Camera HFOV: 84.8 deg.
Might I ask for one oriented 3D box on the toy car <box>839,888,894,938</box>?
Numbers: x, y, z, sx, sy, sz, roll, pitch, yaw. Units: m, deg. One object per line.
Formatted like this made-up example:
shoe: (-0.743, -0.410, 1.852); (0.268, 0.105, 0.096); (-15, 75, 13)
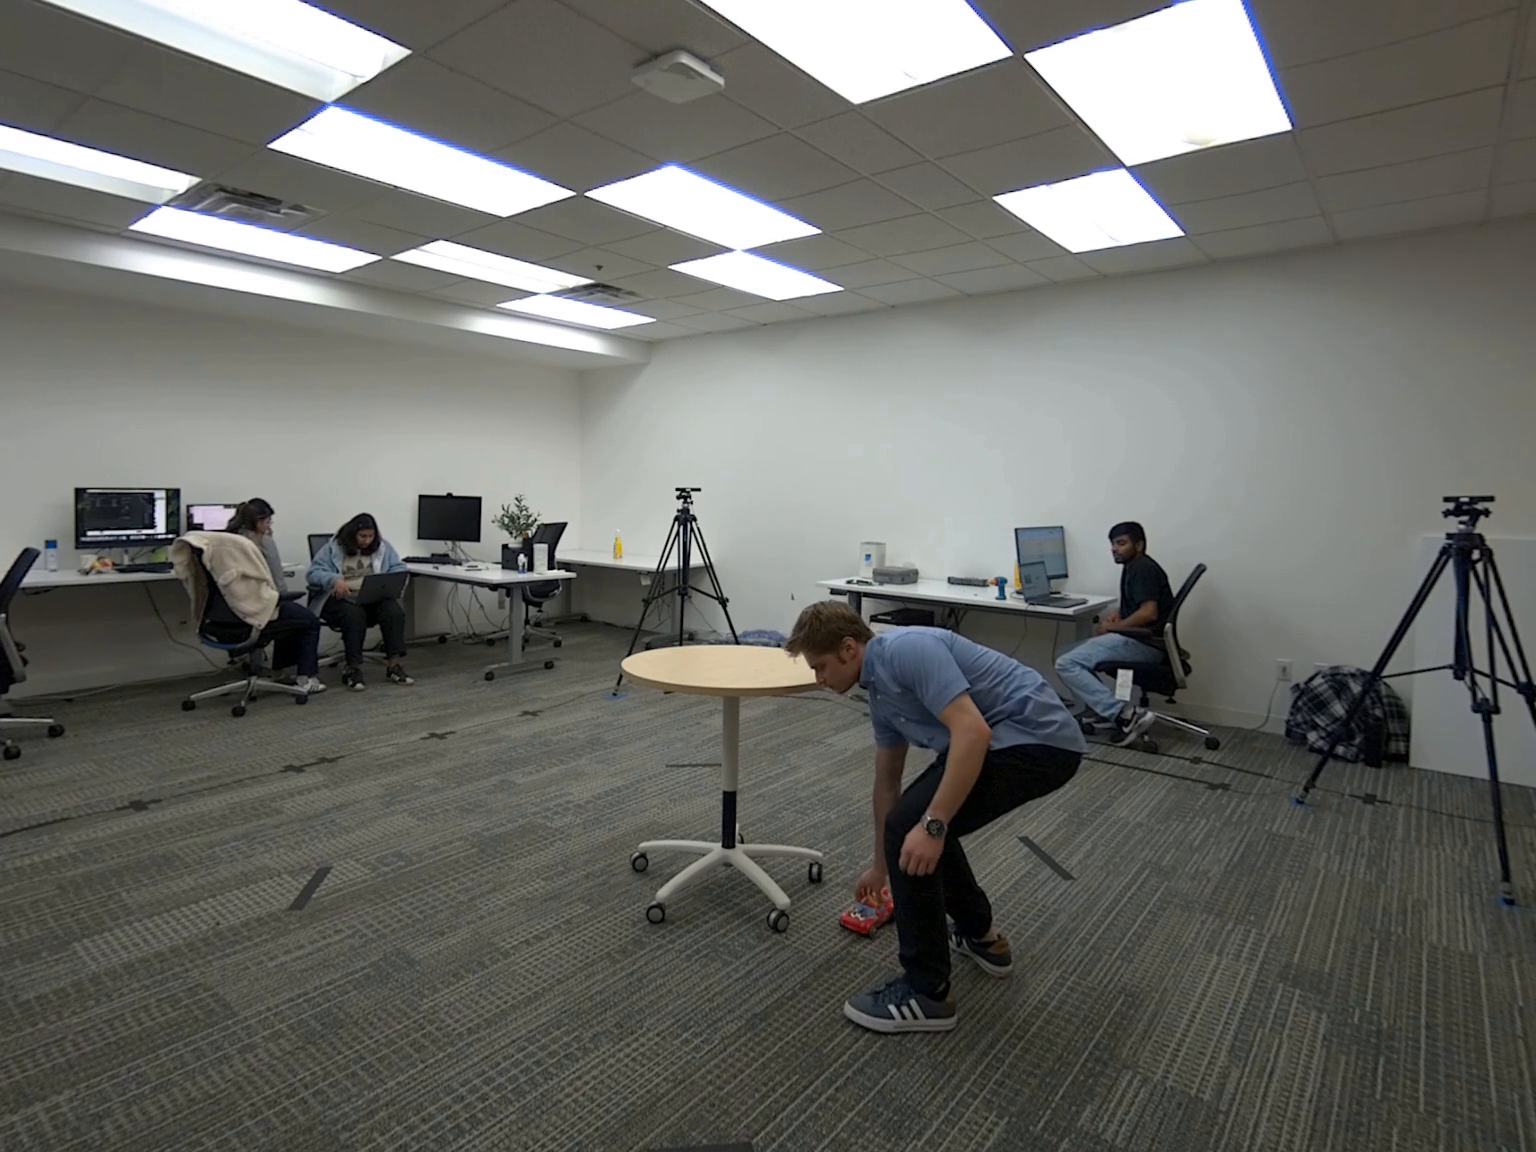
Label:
toy car: (0.333, 1.085, 2.752); (0.135, 0.082, 0.249); (5, 17, 39)
